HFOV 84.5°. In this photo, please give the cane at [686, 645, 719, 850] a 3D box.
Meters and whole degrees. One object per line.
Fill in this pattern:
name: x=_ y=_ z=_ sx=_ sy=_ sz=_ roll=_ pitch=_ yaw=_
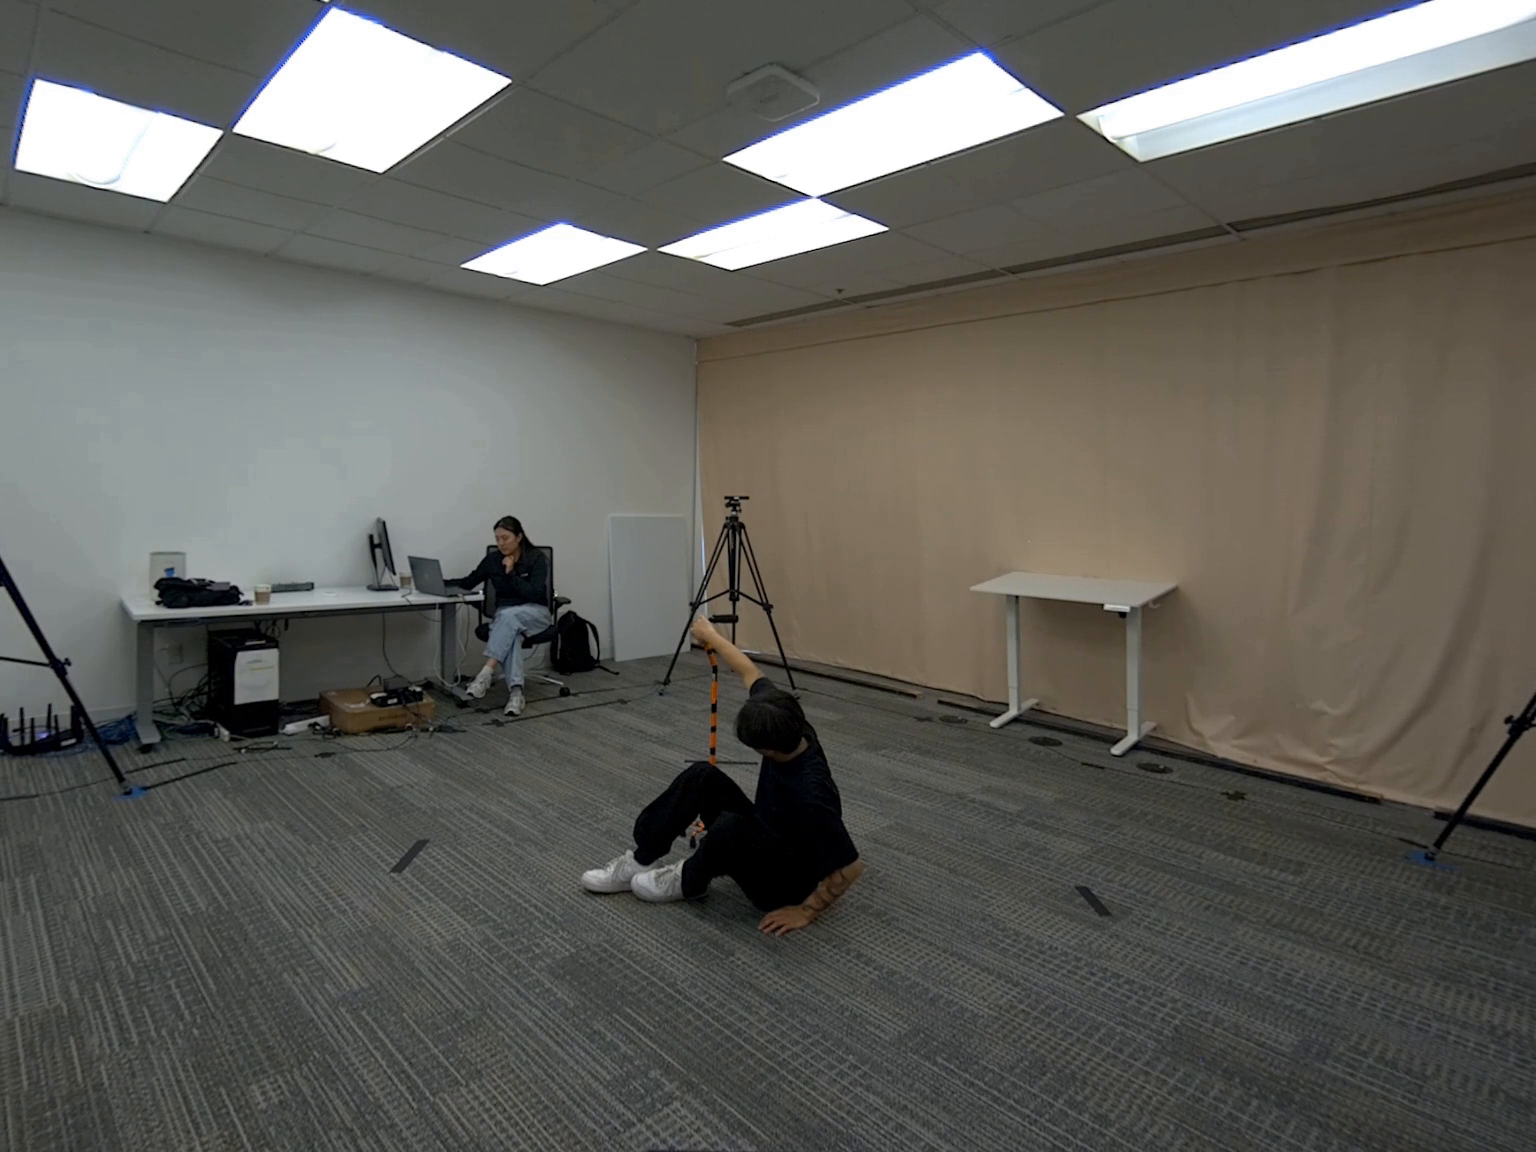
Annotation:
cane: x=-0.242 y=0.618 z=3.426 sx=0.203 sy=0.907 sz=0.154 roll=0 pitch=1 yaw=-26
